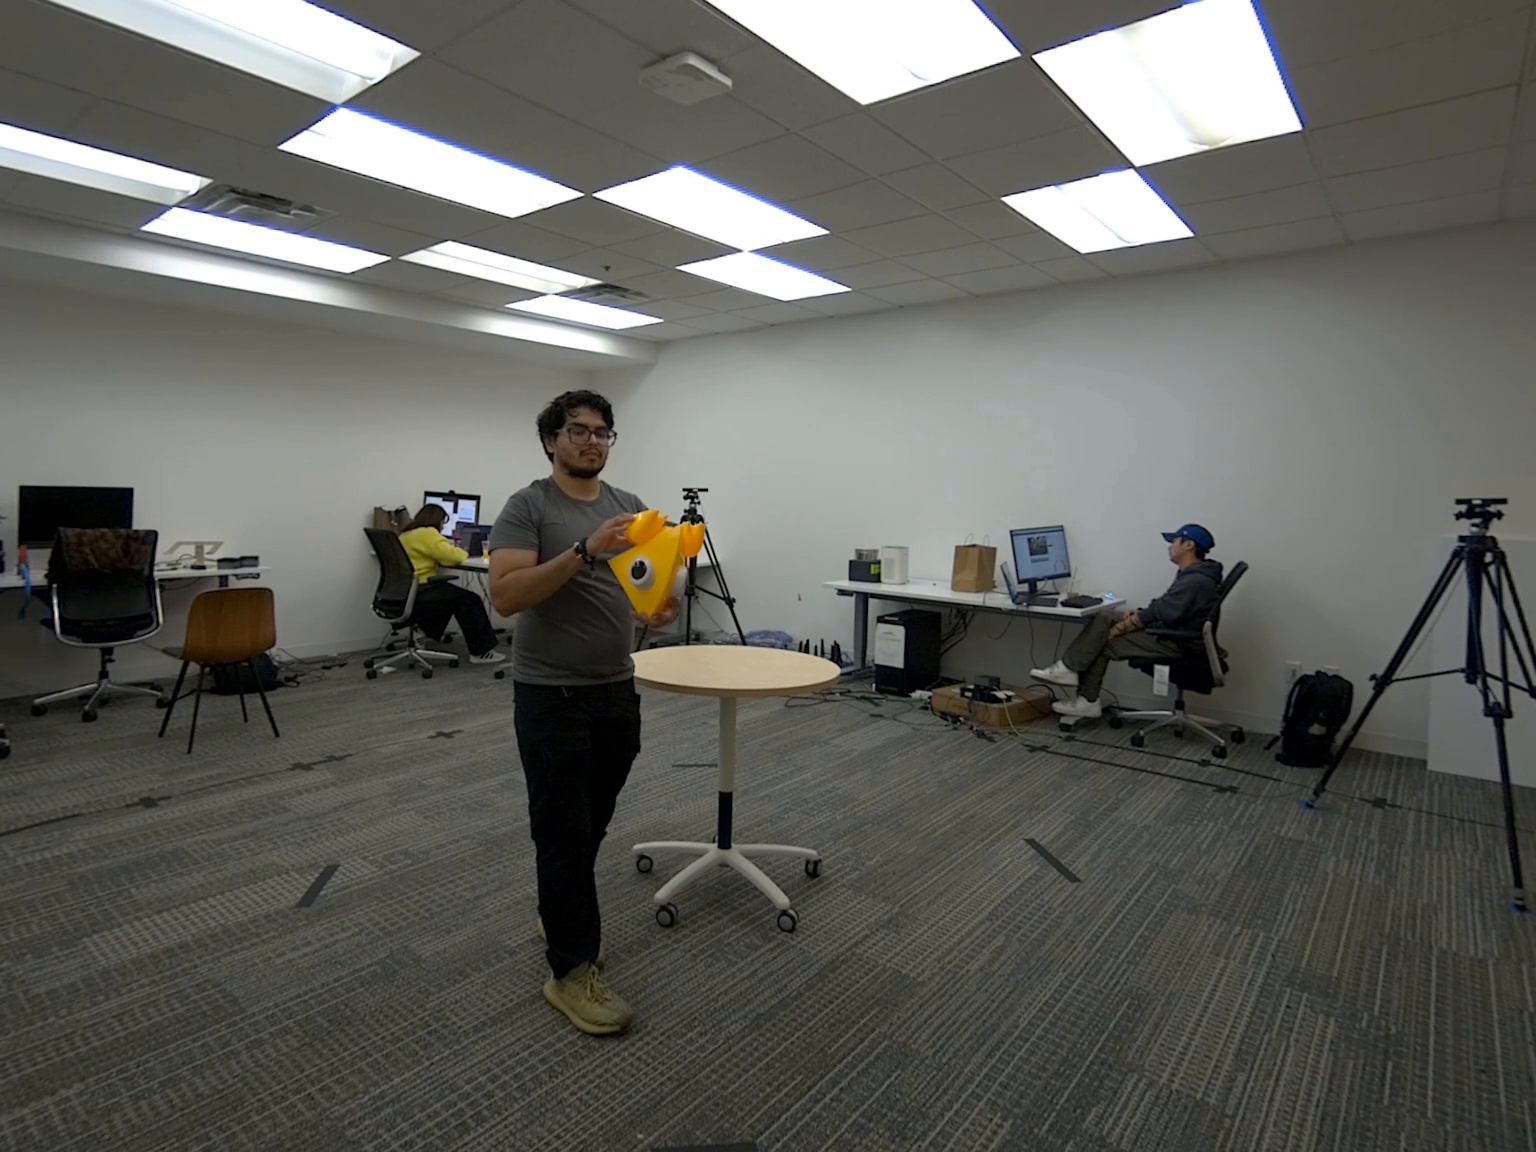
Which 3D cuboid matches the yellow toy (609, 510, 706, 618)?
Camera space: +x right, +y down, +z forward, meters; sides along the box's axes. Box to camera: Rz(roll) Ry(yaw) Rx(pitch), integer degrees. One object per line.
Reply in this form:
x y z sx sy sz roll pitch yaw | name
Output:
-0.276 -0.012 2.093 0.198 0.236 0.195 15 -28 -30 | yellow toy
